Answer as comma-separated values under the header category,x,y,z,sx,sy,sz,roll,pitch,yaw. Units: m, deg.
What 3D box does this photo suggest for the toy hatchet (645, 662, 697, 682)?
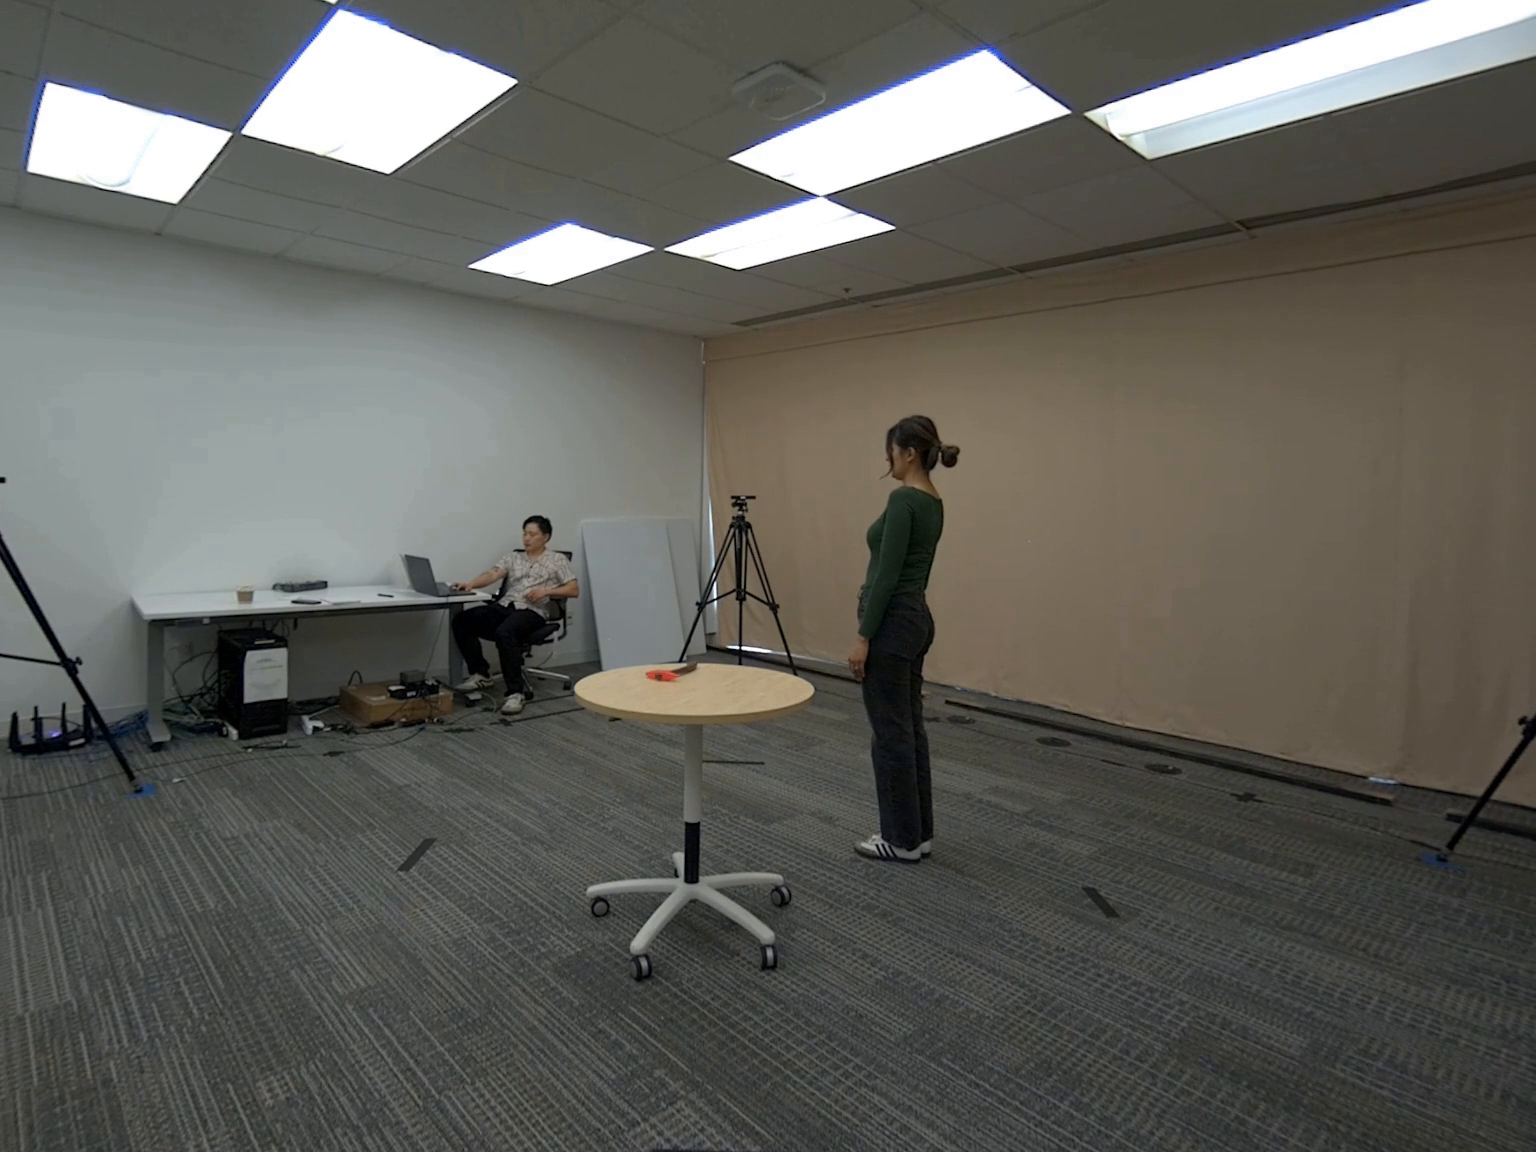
category,x,y,z,sx,sy,sz,roll,pitch,yaw
toy hatchet,-0.343,0.328,2.889,0.132,0.029,0.268,-1,2,9
